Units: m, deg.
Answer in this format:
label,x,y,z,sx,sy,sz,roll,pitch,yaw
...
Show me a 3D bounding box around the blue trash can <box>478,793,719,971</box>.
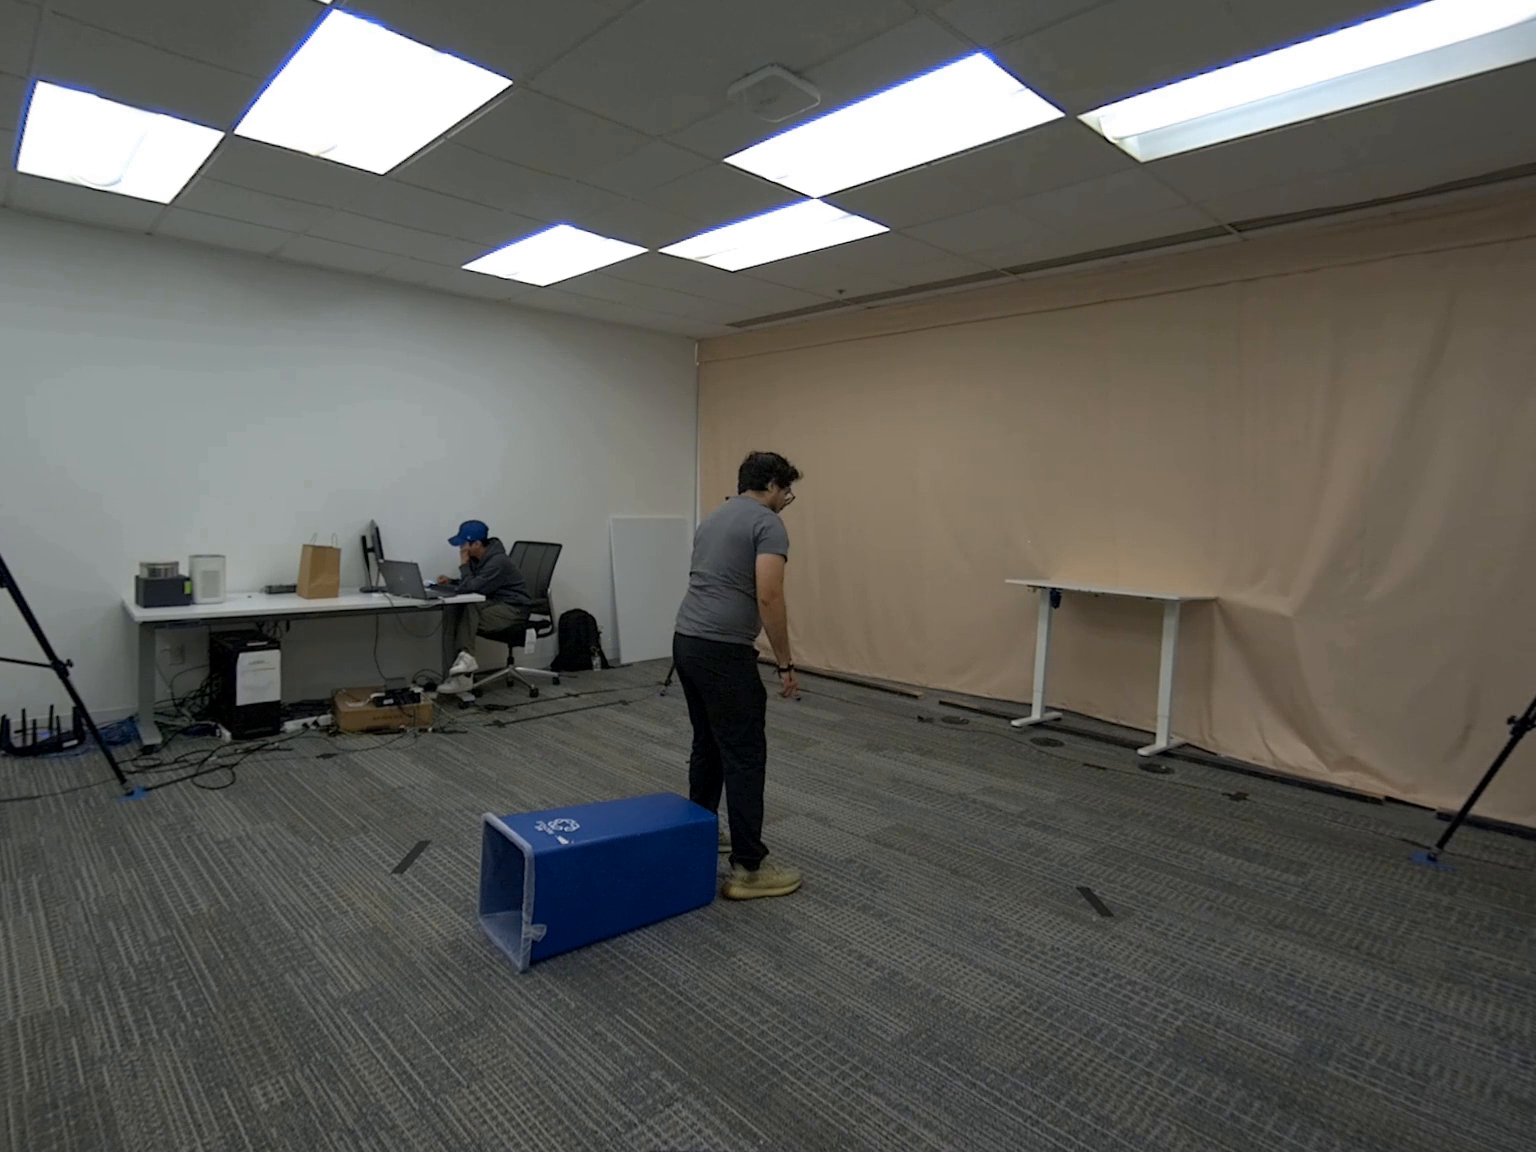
label,x,y,z,sx,sy,sz,roll,pitch,yaw
blue trash can,-0.551,0.951,2.778,0.697,0.373,0.387,0,4,-39
